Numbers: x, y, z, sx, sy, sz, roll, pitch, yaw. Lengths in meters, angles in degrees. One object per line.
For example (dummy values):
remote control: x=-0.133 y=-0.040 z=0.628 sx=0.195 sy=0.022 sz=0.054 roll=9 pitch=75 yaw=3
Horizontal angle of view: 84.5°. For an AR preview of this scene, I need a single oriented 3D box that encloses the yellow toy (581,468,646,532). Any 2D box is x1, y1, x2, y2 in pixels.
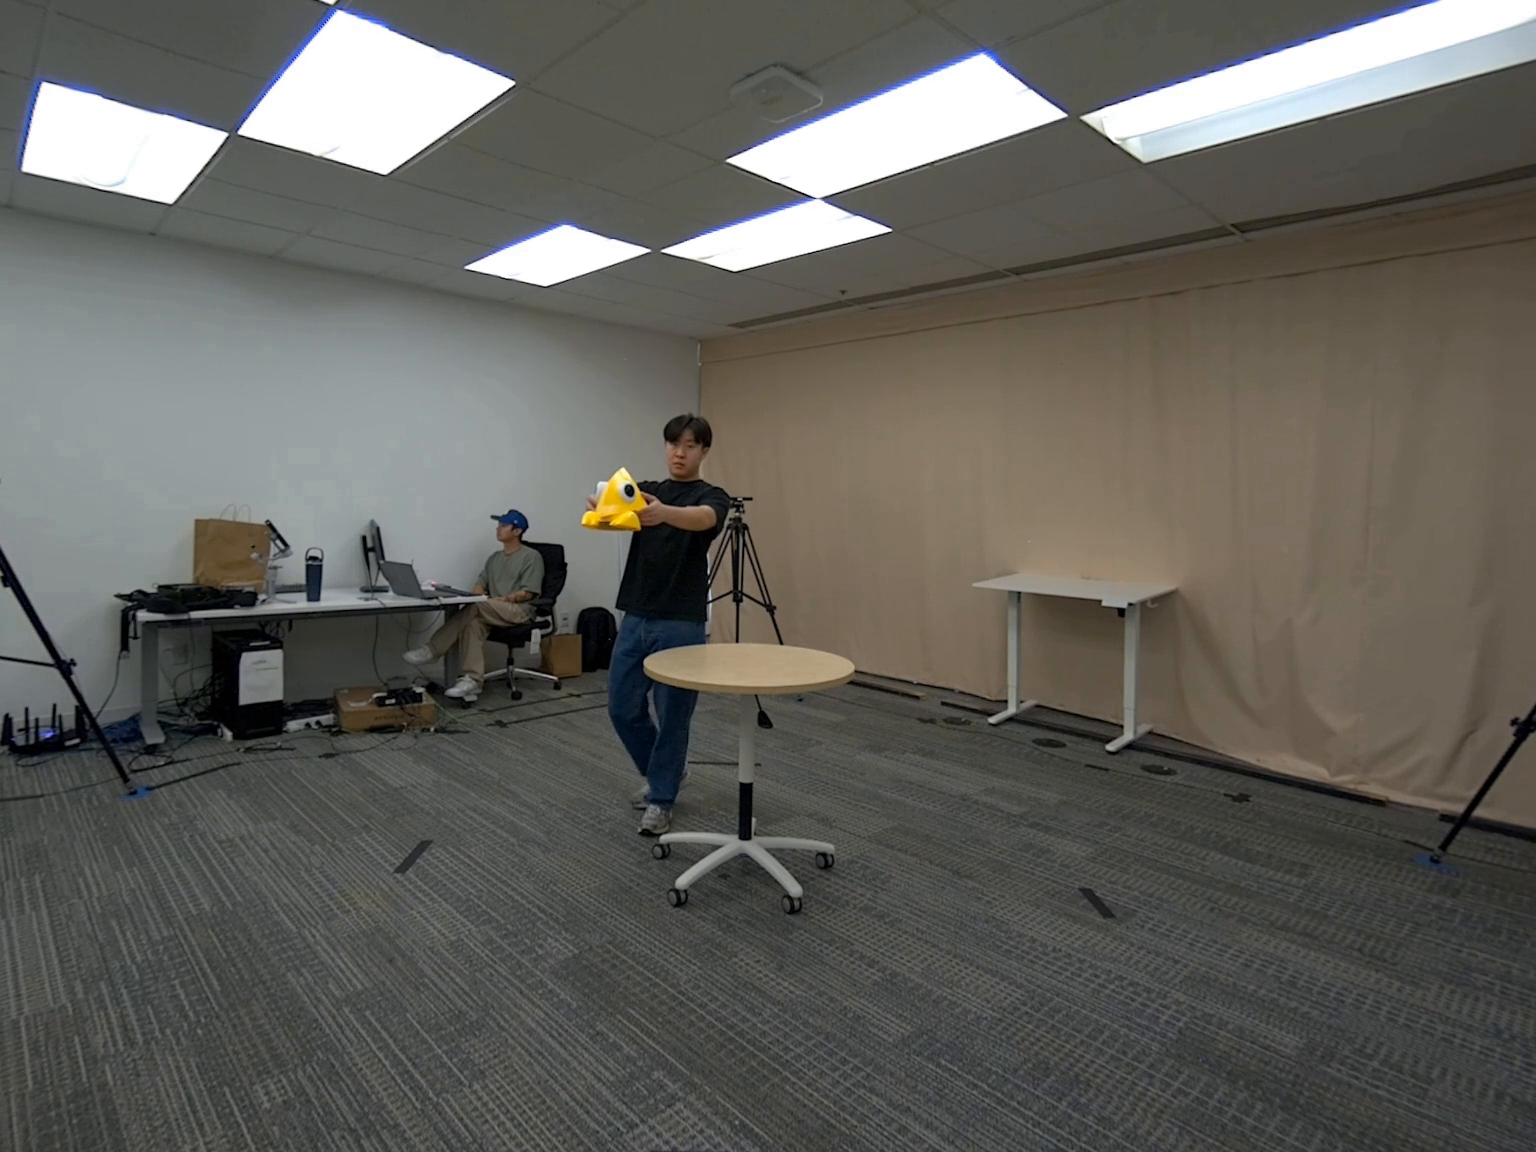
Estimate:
yellow toy: x=-0.565 y=-0.285 z=2.979 sx=0.207 sy=0.231 sz=0.190 roll=2 pitch=-5 yaw=16
